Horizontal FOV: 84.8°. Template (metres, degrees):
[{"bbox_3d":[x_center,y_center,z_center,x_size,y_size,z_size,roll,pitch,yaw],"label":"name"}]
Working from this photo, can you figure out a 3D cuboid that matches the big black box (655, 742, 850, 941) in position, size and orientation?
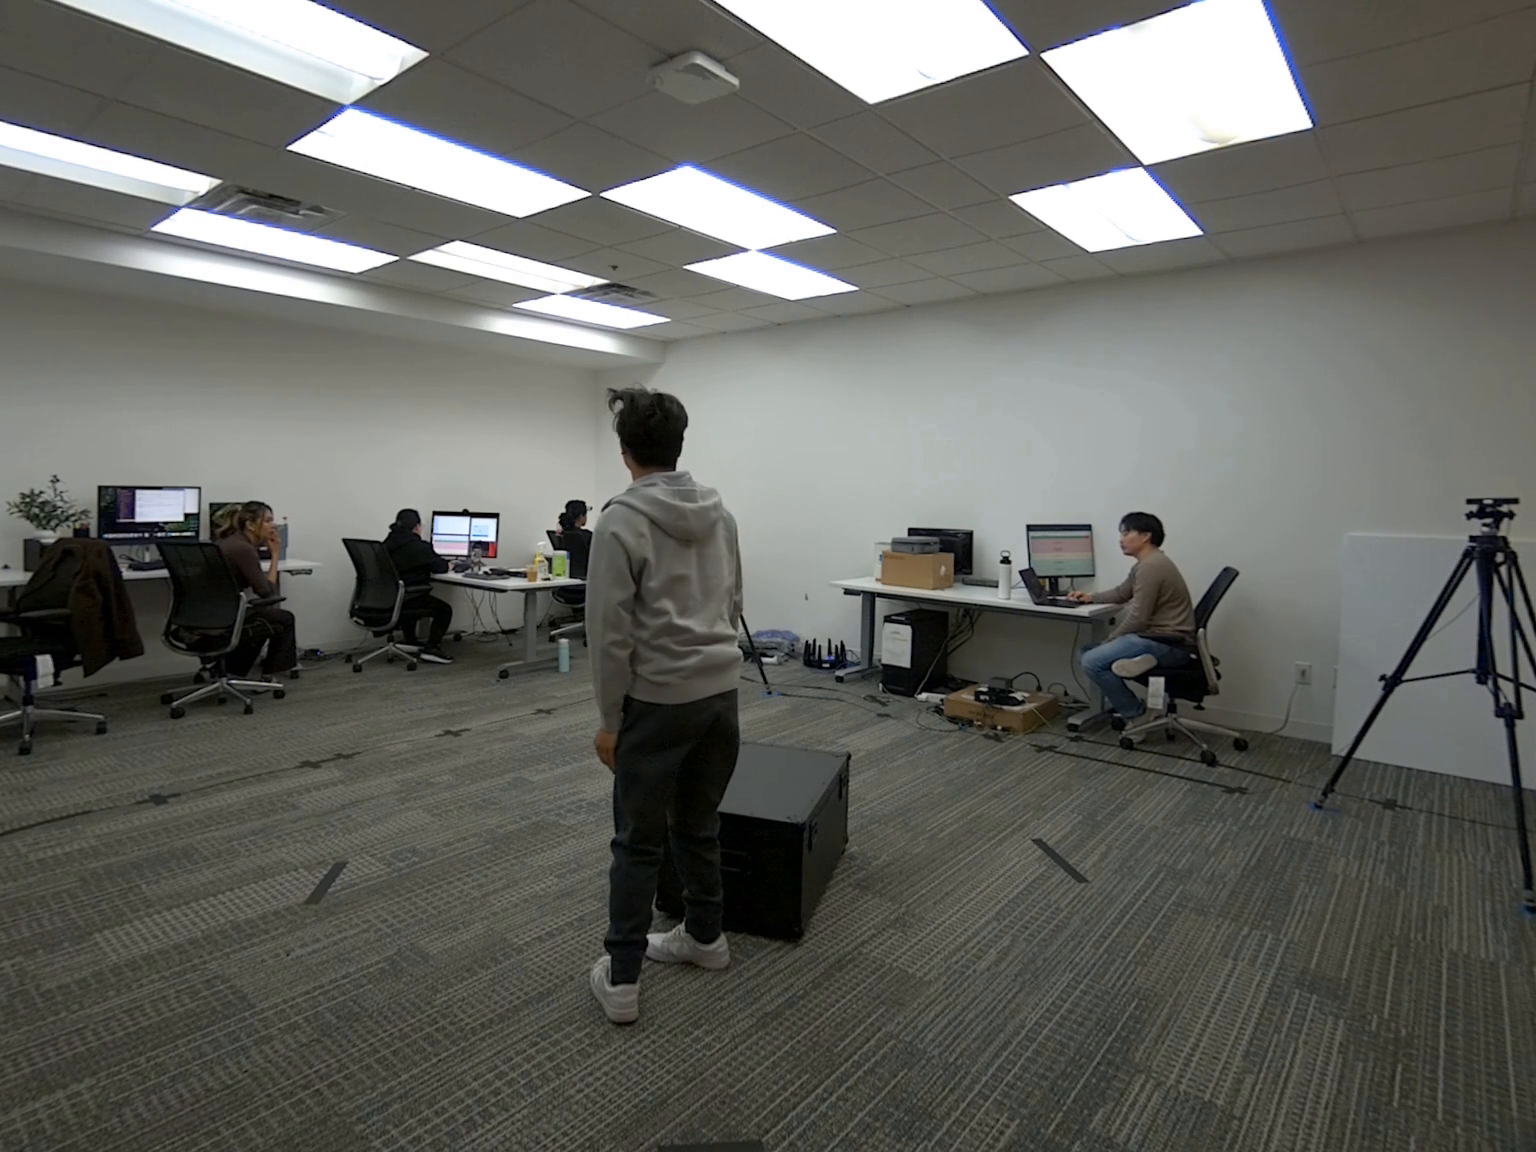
[{"bbox_3d":[-0.039,0.890,2.992,0.531,0.395,0.847,2,4,17],"label":"big black box"}]
